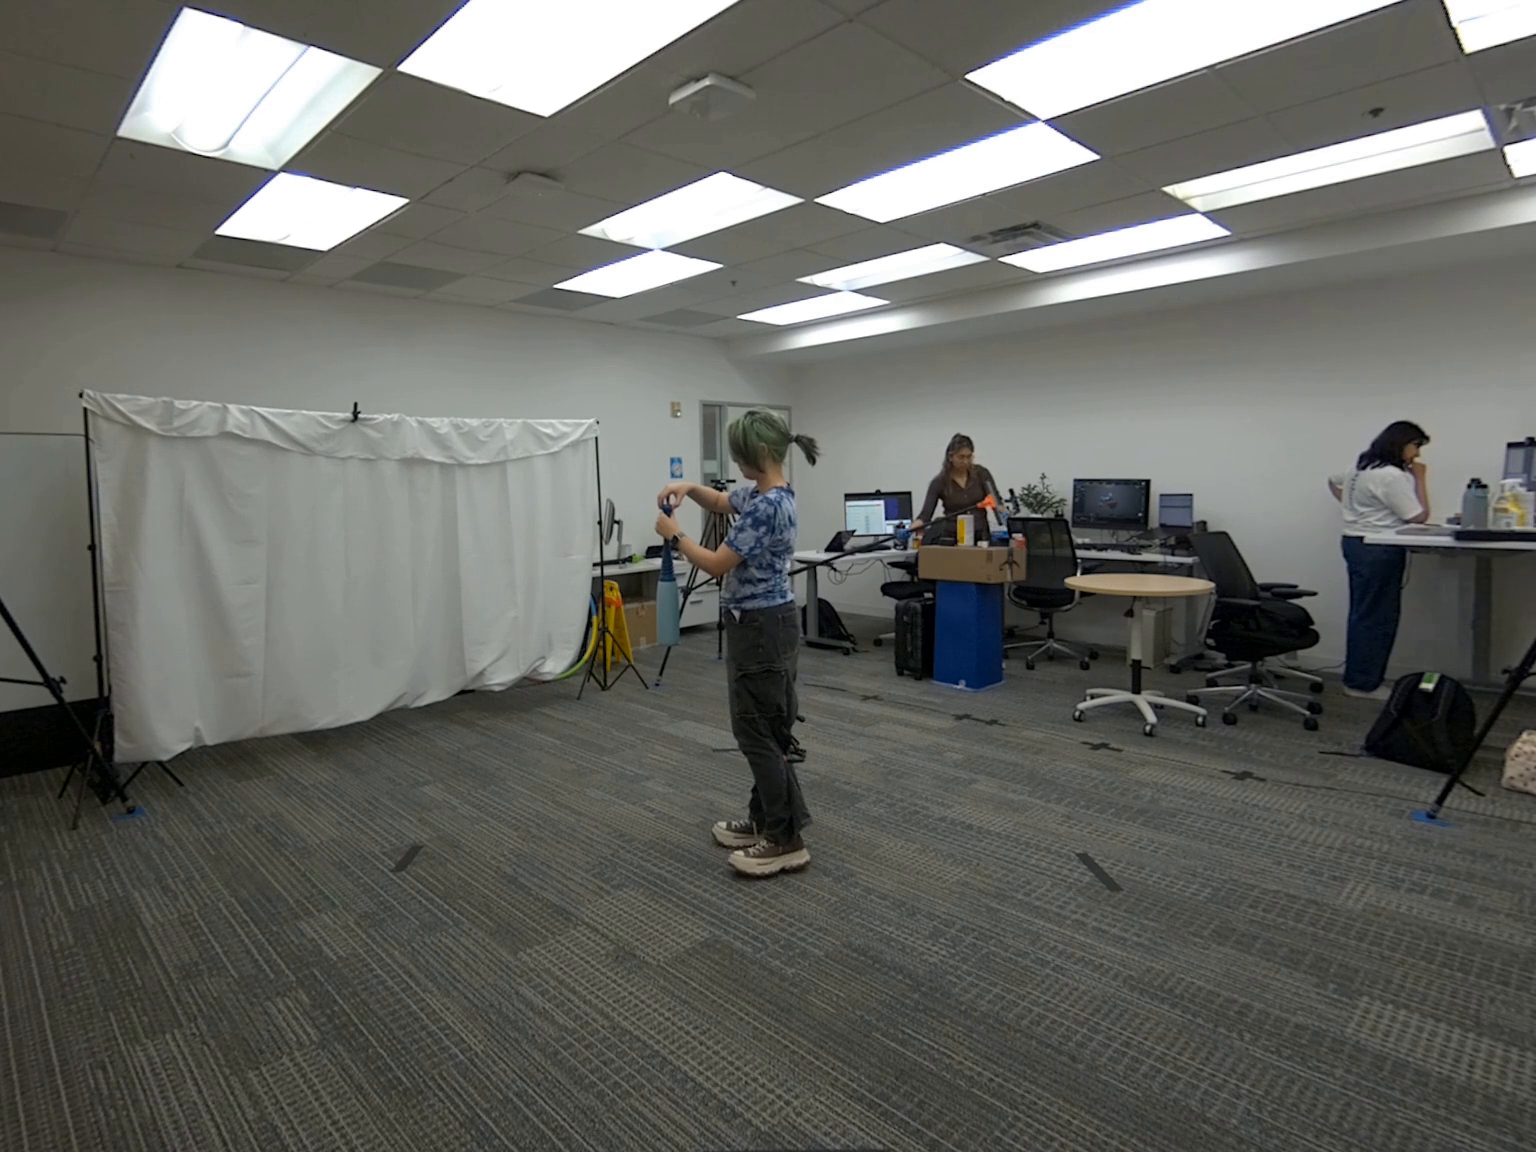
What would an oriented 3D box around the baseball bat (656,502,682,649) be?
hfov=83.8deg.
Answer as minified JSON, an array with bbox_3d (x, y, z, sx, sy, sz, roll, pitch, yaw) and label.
[{"bbox_3d":[-0.375,-0.005,3.232,0.089,0.541,0.089,0,5,-2],"label":"baseball bat"}]
